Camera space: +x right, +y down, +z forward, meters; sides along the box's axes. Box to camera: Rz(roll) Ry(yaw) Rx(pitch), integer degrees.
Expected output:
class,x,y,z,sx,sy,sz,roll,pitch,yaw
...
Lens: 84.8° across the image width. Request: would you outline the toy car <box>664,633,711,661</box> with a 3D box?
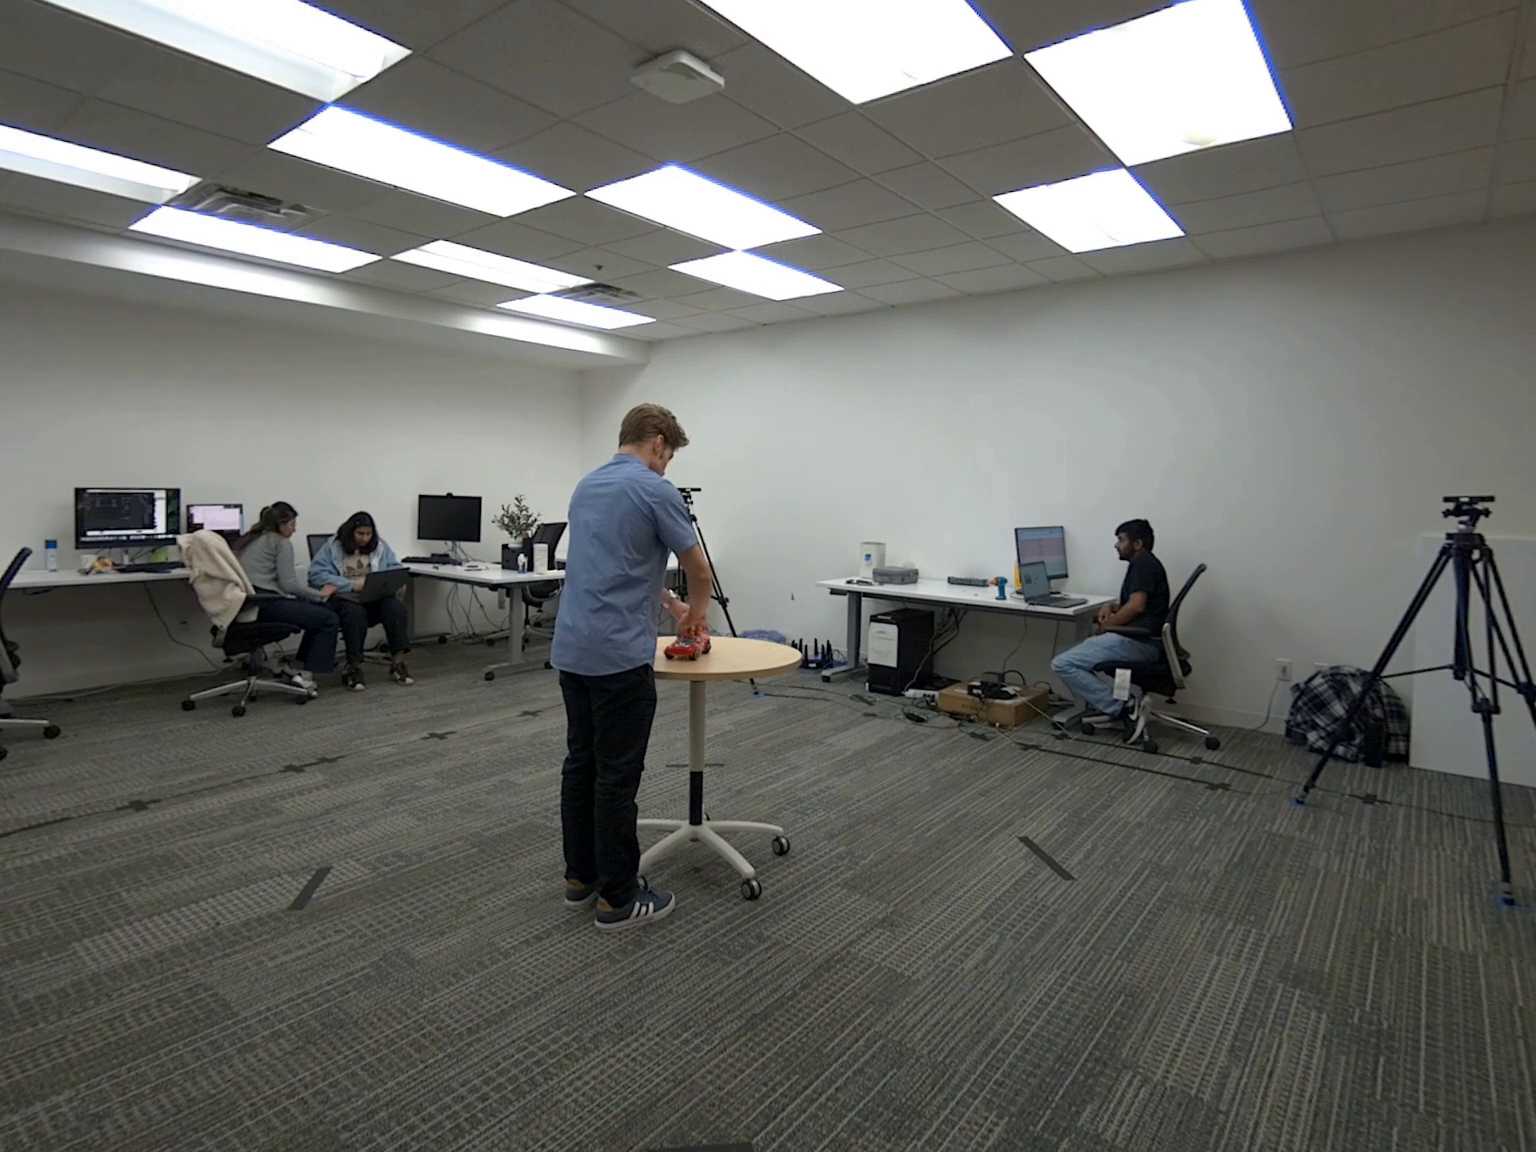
class,x,y,z,sx,sy,sz,roll,pitch,yaw
toy car,-0.290,0.254,3.101,0.132,0.082,0.255,2,16,11
